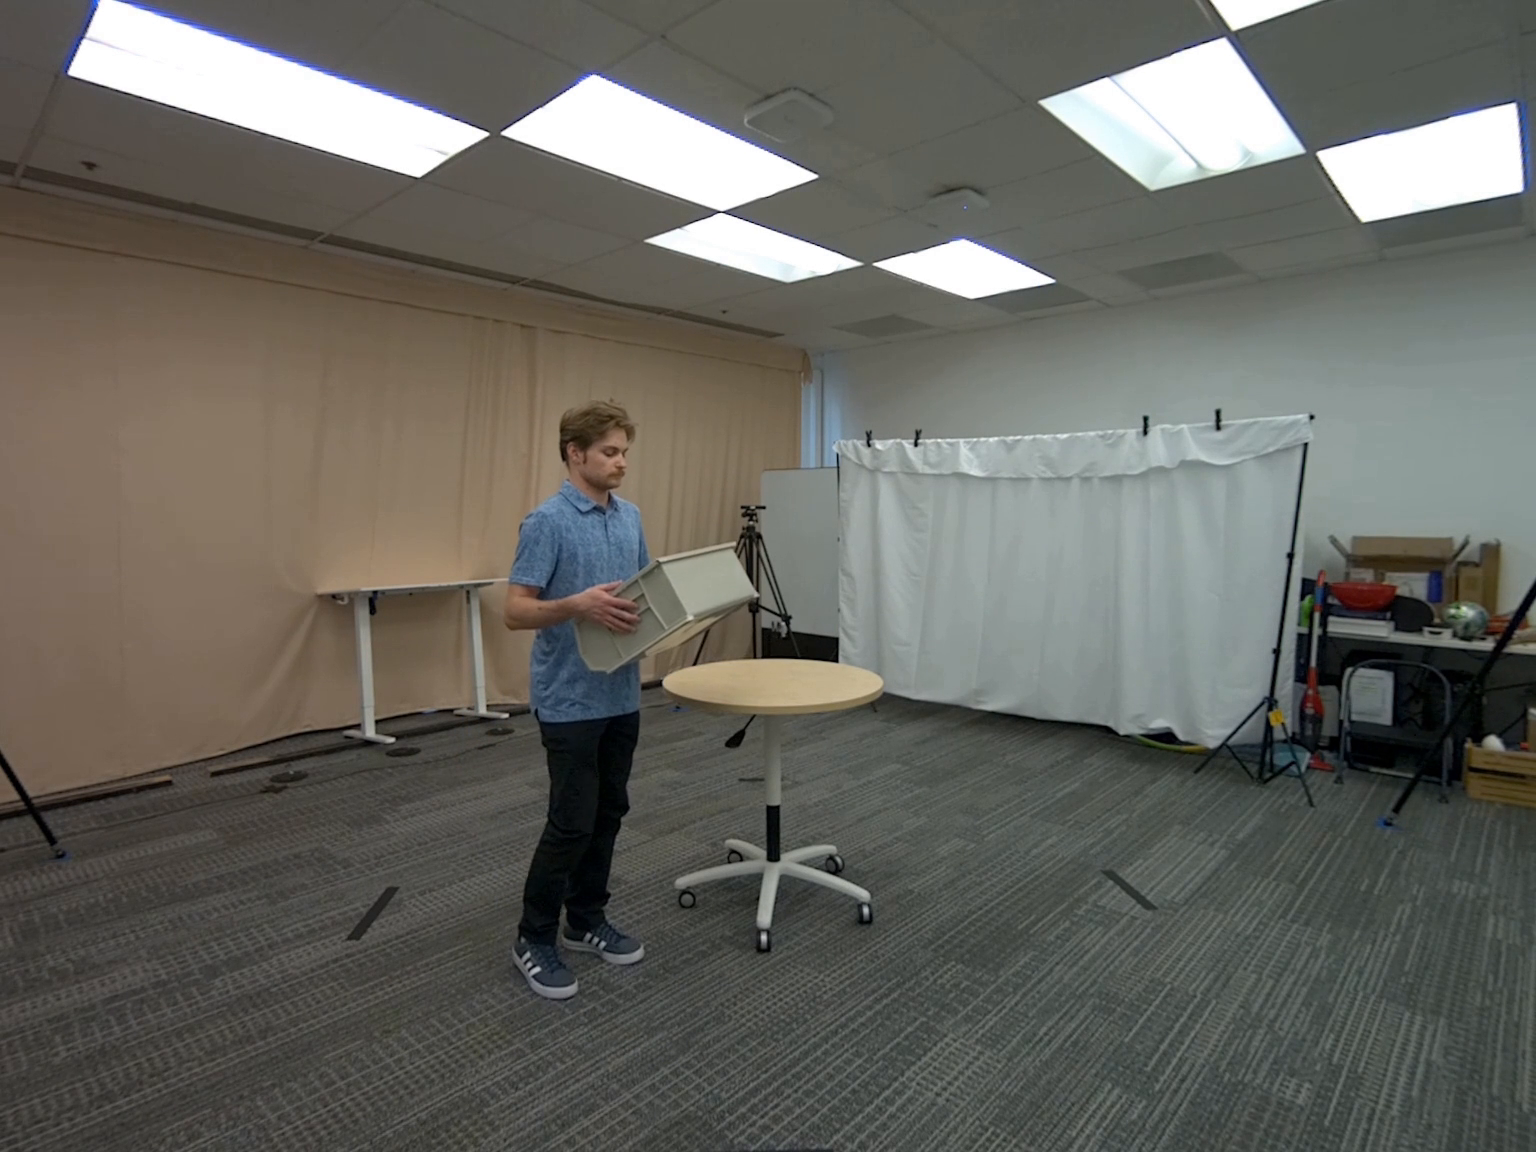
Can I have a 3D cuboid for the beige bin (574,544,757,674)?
[{"bbox_3d":[-0.282,0.097,2.395,0.383,0.190,0.413,-31,-7,28],"label":"beige bin"}]
